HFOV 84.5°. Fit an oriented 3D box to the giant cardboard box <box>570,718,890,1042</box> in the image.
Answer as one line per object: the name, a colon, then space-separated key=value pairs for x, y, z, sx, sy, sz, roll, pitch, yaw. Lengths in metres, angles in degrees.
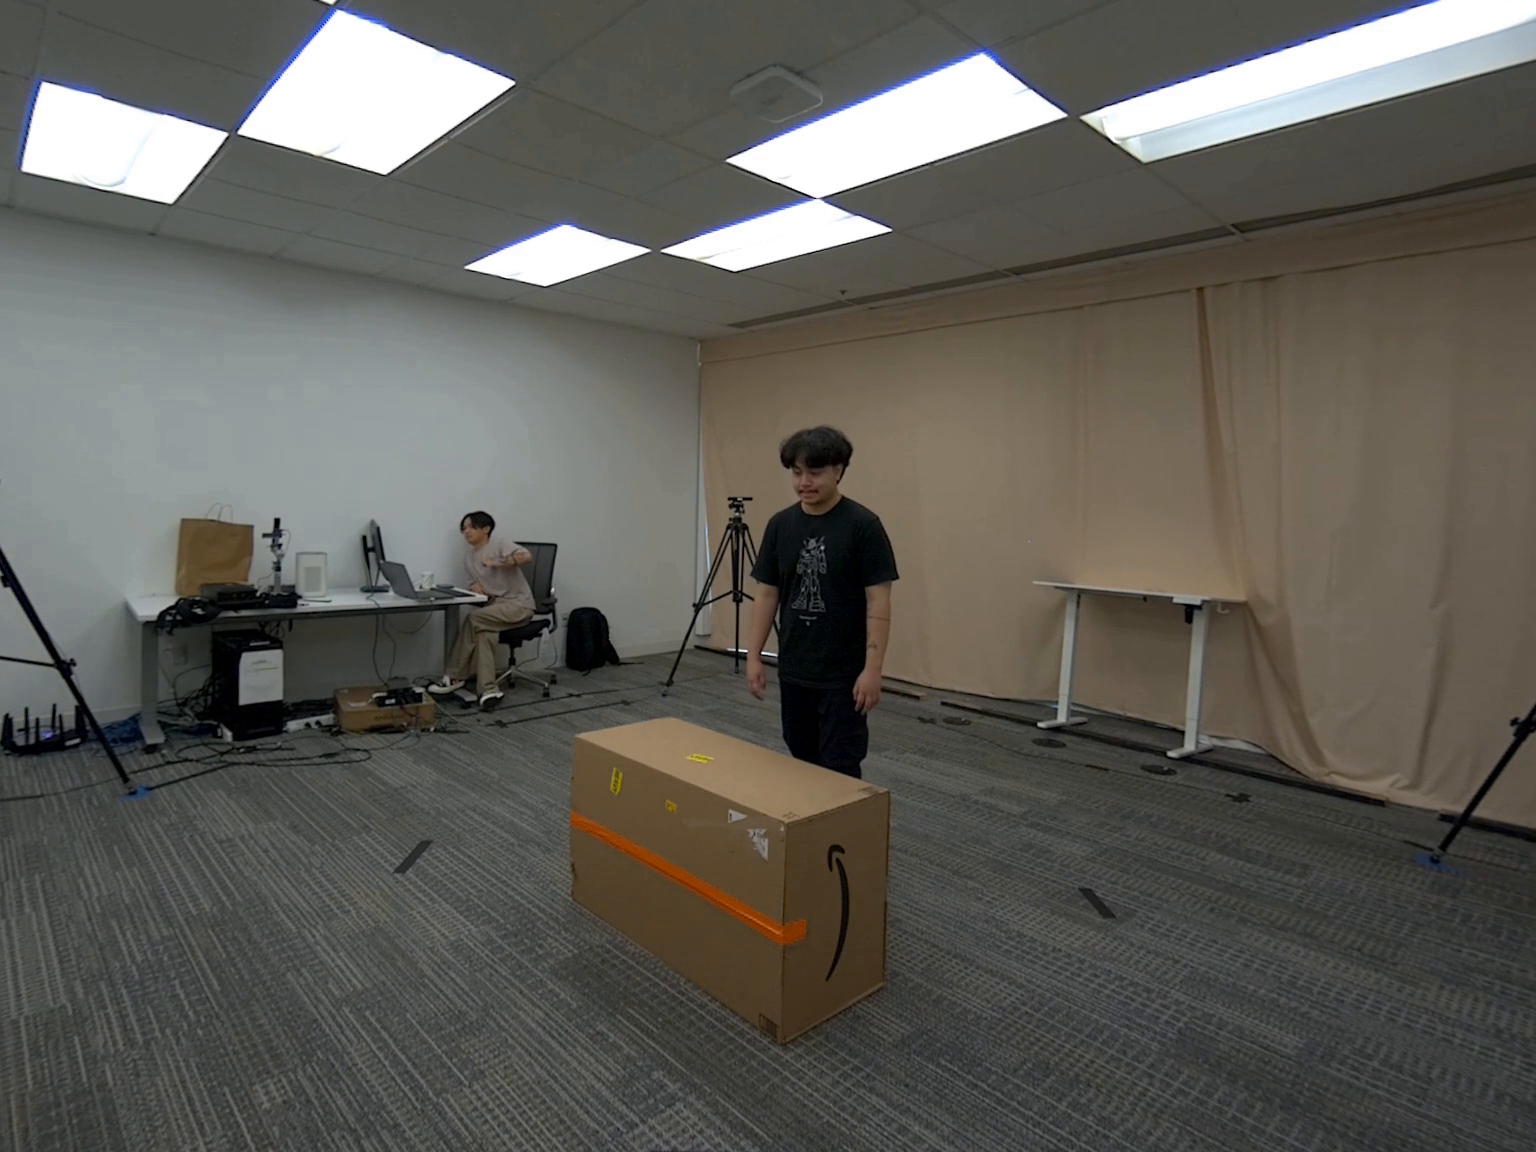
giant cardboard box: x=-0.175 y=0.865 z=2.640 sx=0.437 sy=0.582 sz=1.053 roll=-3 pitch=6 yaw=-43
